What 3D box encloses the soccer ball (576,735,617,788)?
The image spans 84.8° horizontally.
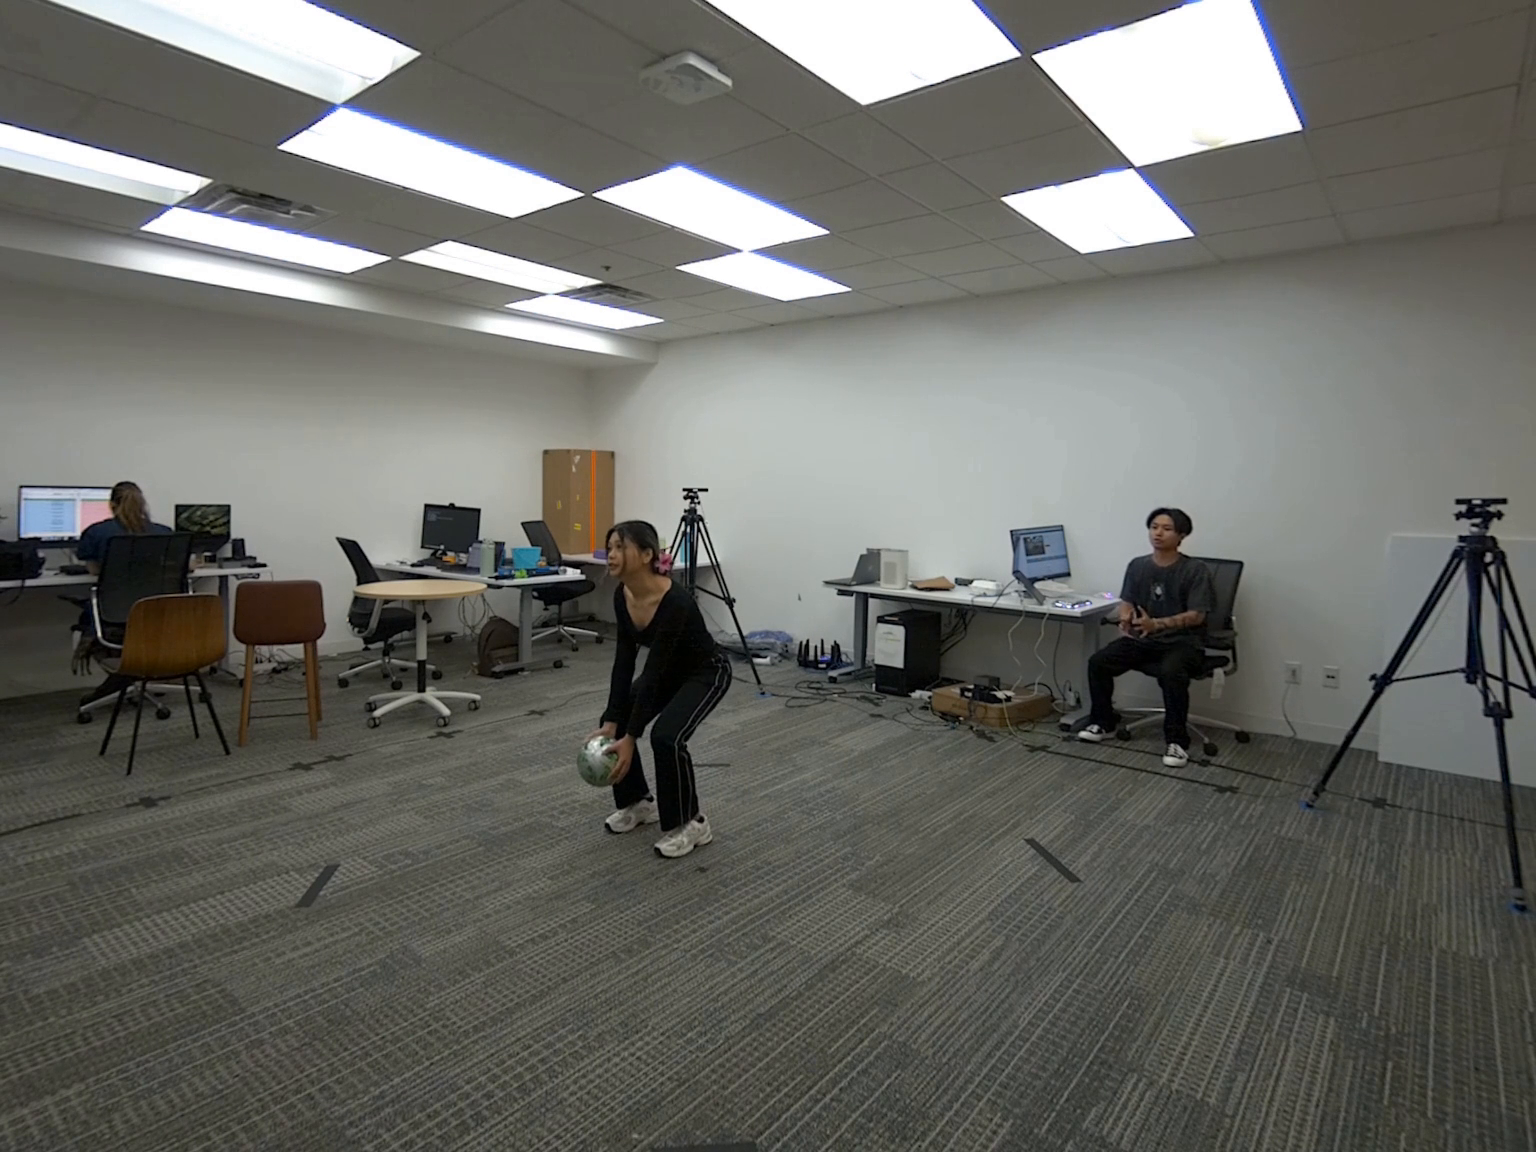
[{"bbox_3d":[-0.644,0.682,3.203,0.187,0.187,0.188,1,4,-2],"label":"soccer ball"}]
